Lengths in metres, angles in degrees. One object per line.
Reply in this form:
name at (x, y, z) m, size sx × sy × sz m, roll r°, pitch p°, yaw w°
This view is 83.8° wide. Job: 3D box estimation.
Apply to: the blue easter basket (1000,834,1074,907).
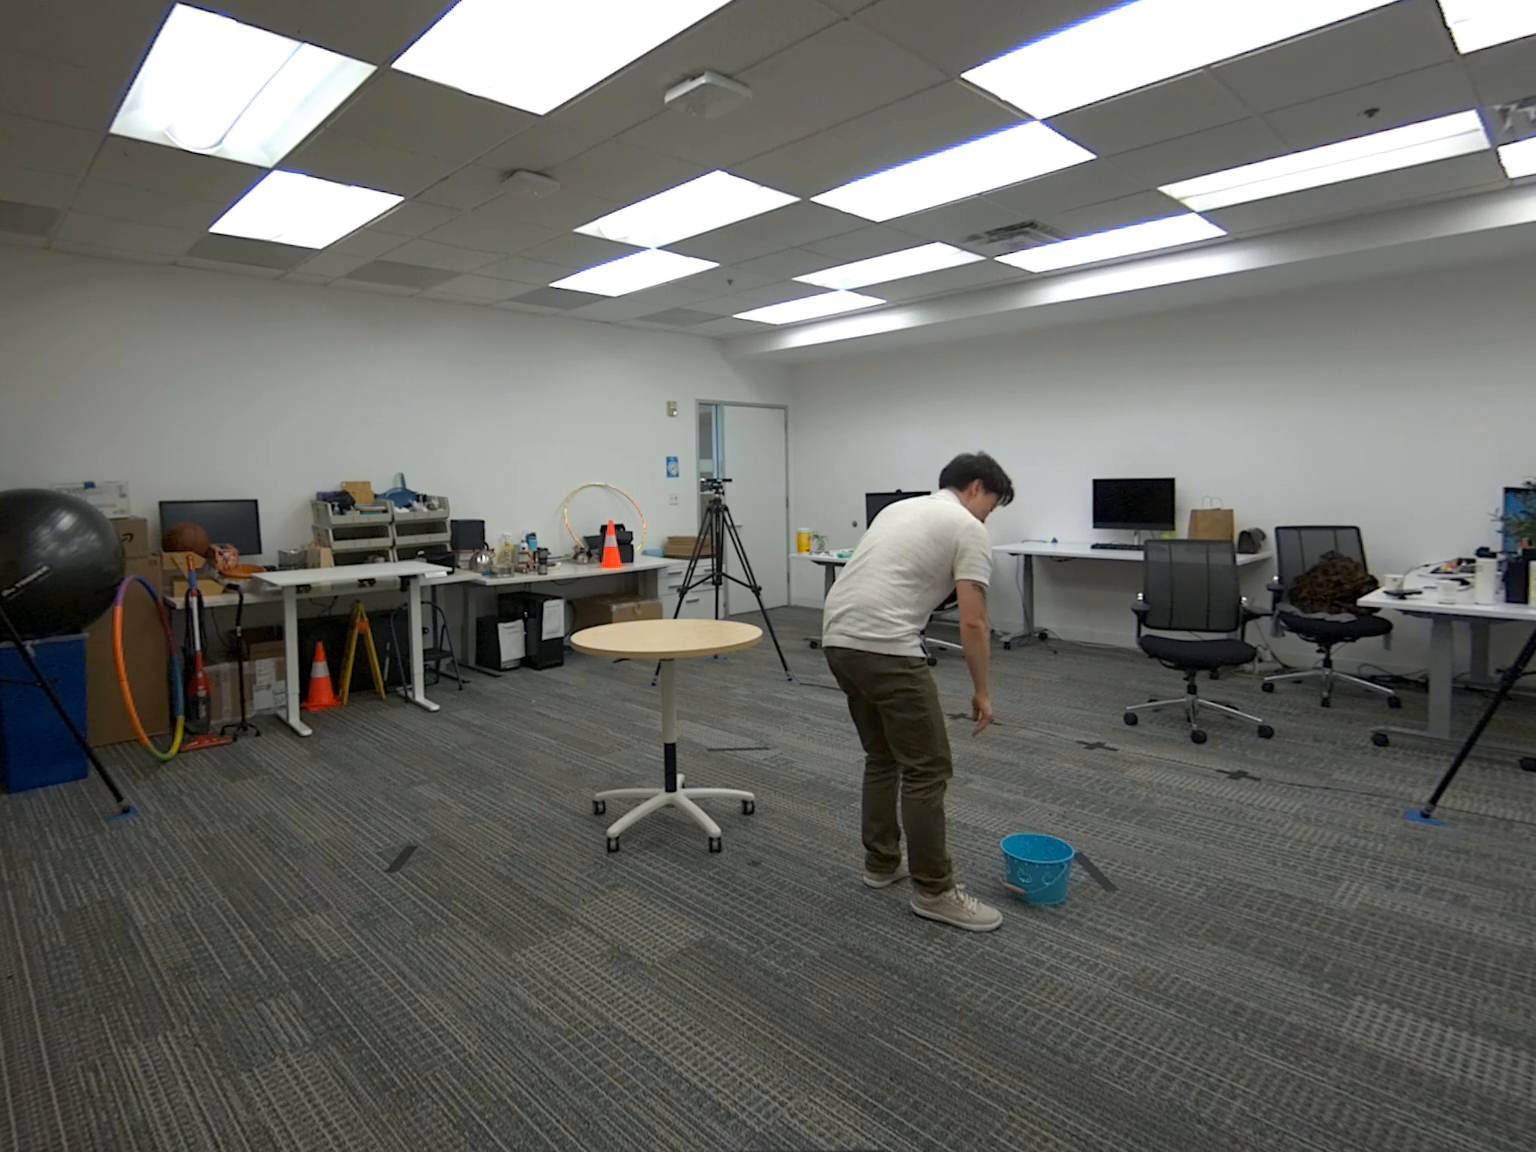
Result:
blue easter basket at (0.890, 0.975, 2.854) m, size 0.243 × 0.155 × 0.245 m, roll -2°, pitch 5°, yaw -2°
